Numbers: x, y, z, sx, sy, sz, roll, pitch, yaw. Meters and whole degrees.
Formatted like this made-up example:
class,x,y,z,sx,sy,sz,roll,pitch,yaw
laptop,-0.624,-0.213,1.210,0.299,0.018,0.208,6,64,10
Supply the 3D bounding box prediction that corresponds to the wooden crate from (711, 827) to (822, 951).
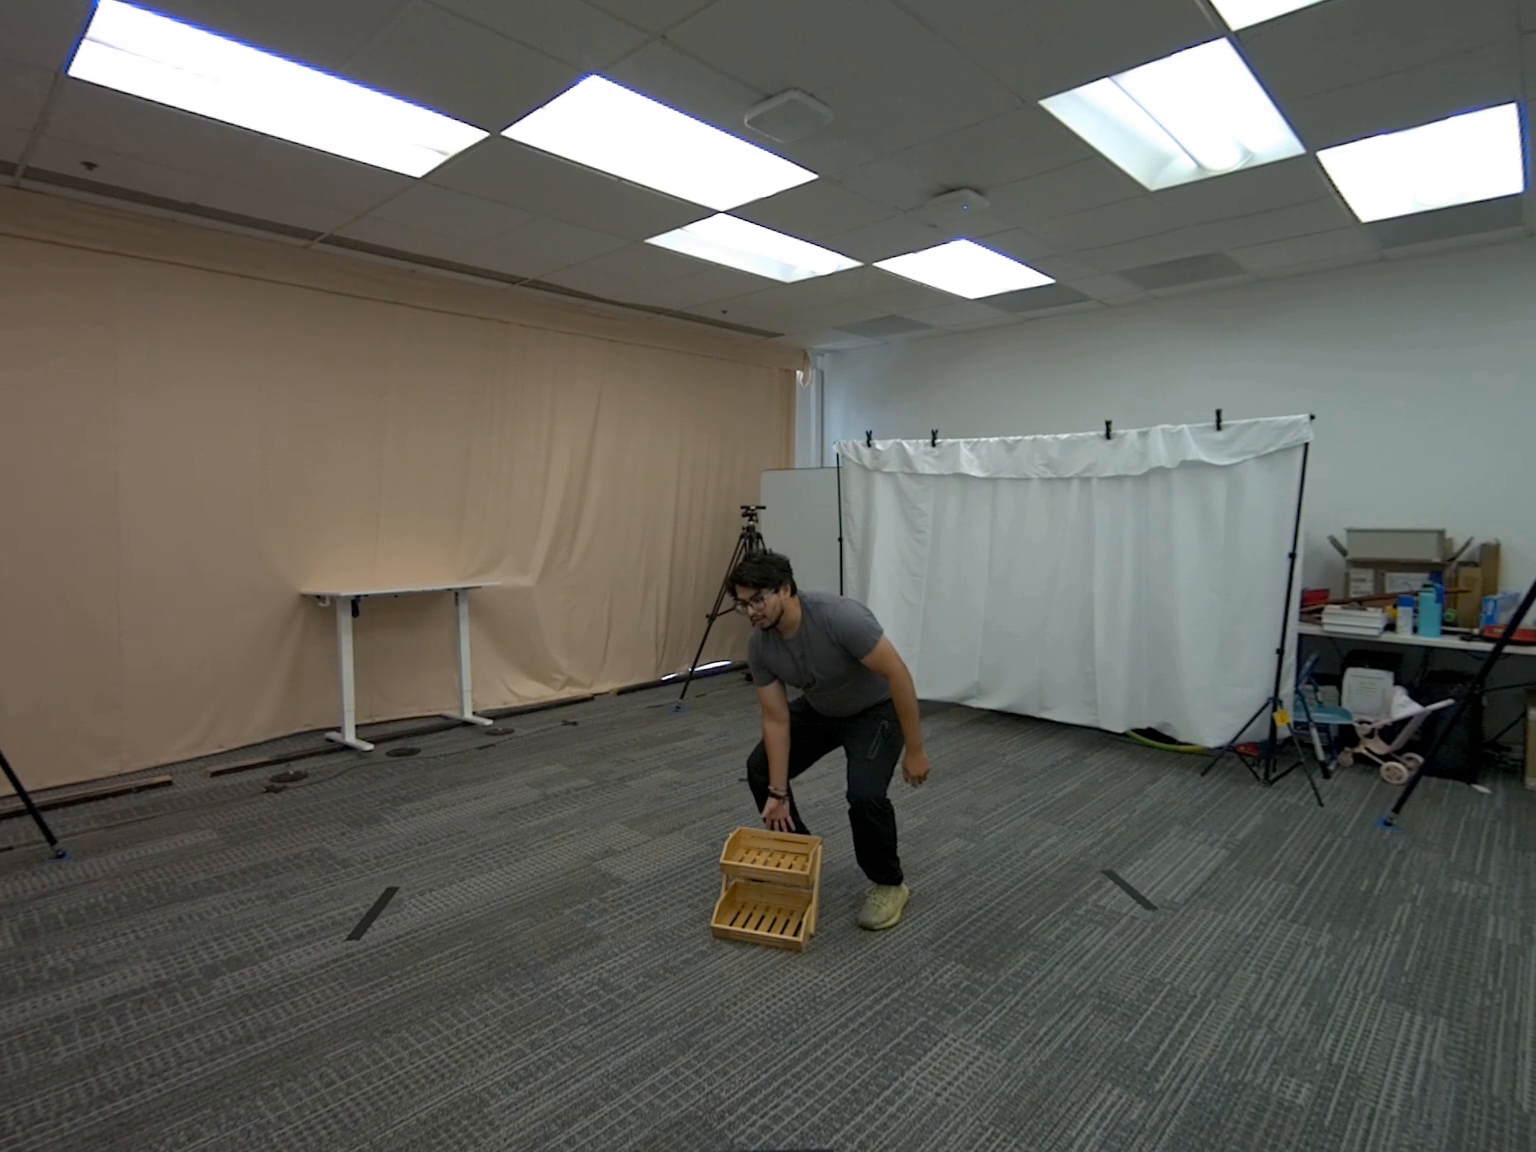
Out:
class,x,y,z,sx,sy,sz,roll,pitch,yaw
wooden crate,0.007,1.025,2.786,0.330,0.273,0.297,2,3,16
